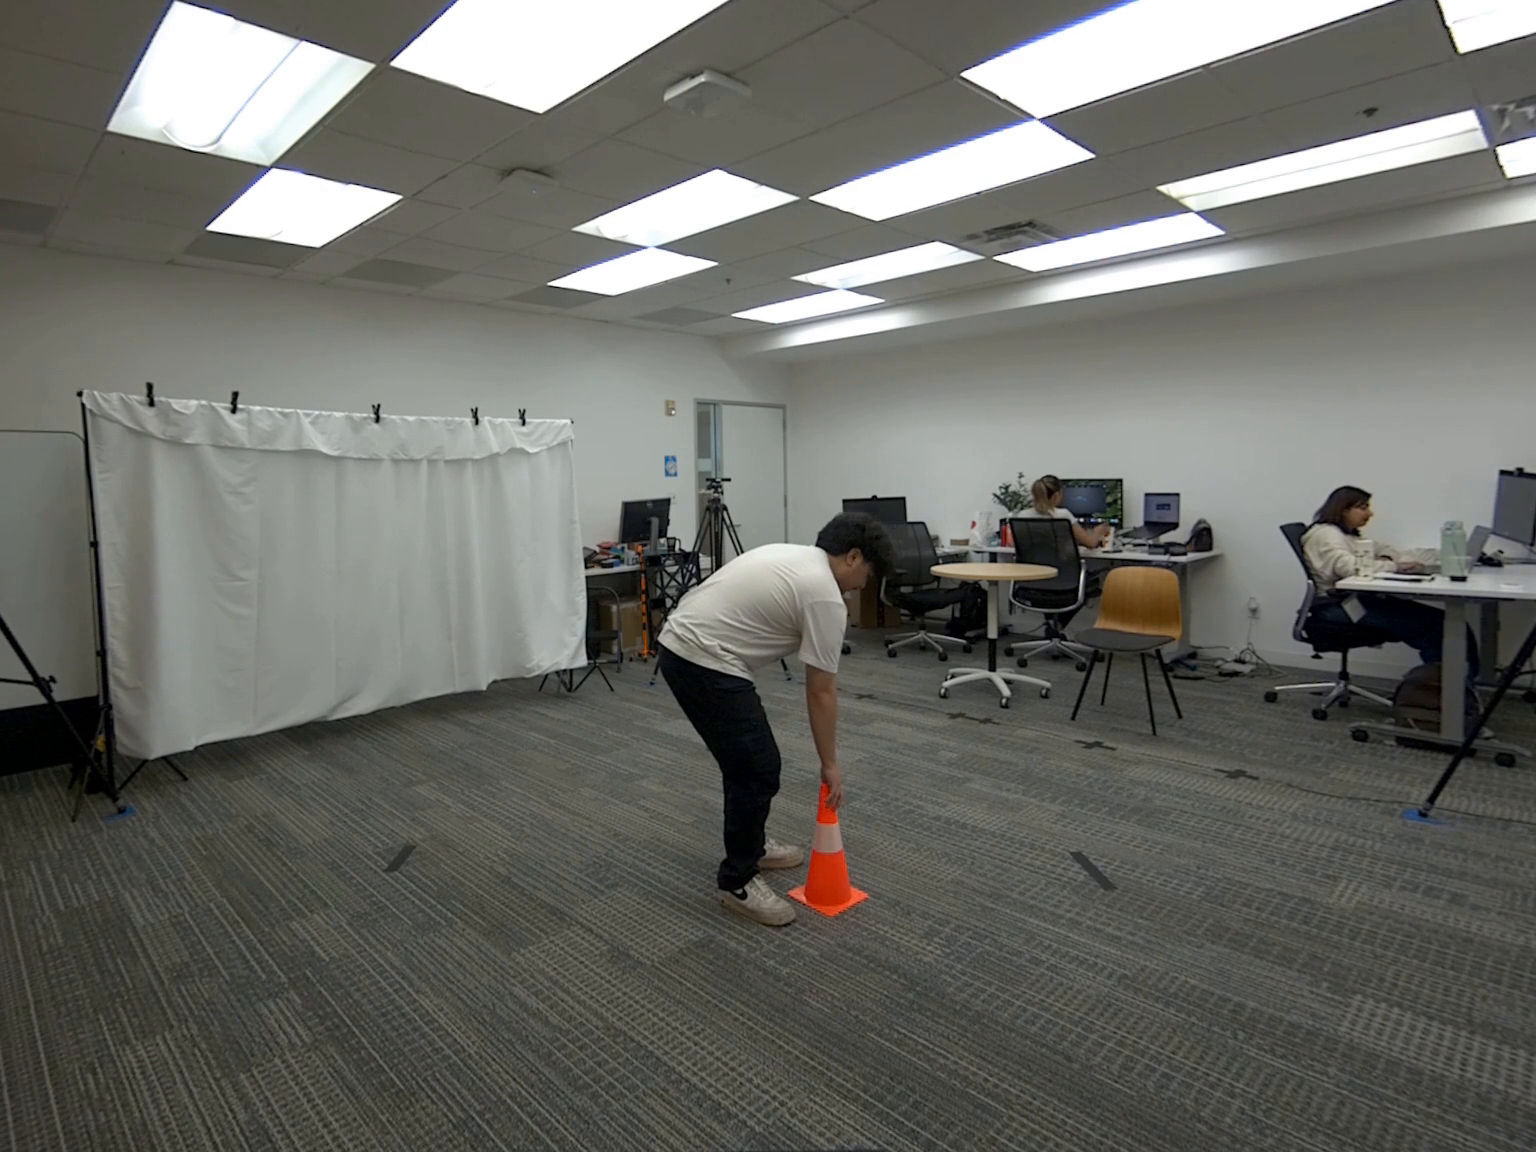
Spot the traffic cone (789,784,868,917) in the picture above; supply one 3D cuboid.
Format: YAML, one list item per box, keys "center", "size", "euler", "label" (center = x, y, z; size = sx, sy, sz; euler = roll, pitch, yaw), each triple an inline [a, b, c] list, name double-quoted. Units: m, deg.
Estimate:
- center: [0.194, 0.876, 2.845]
  size: [0.198, 0.382, 0.211]
  euler: [-5, 5, -44]
  label: "traffic cone"
